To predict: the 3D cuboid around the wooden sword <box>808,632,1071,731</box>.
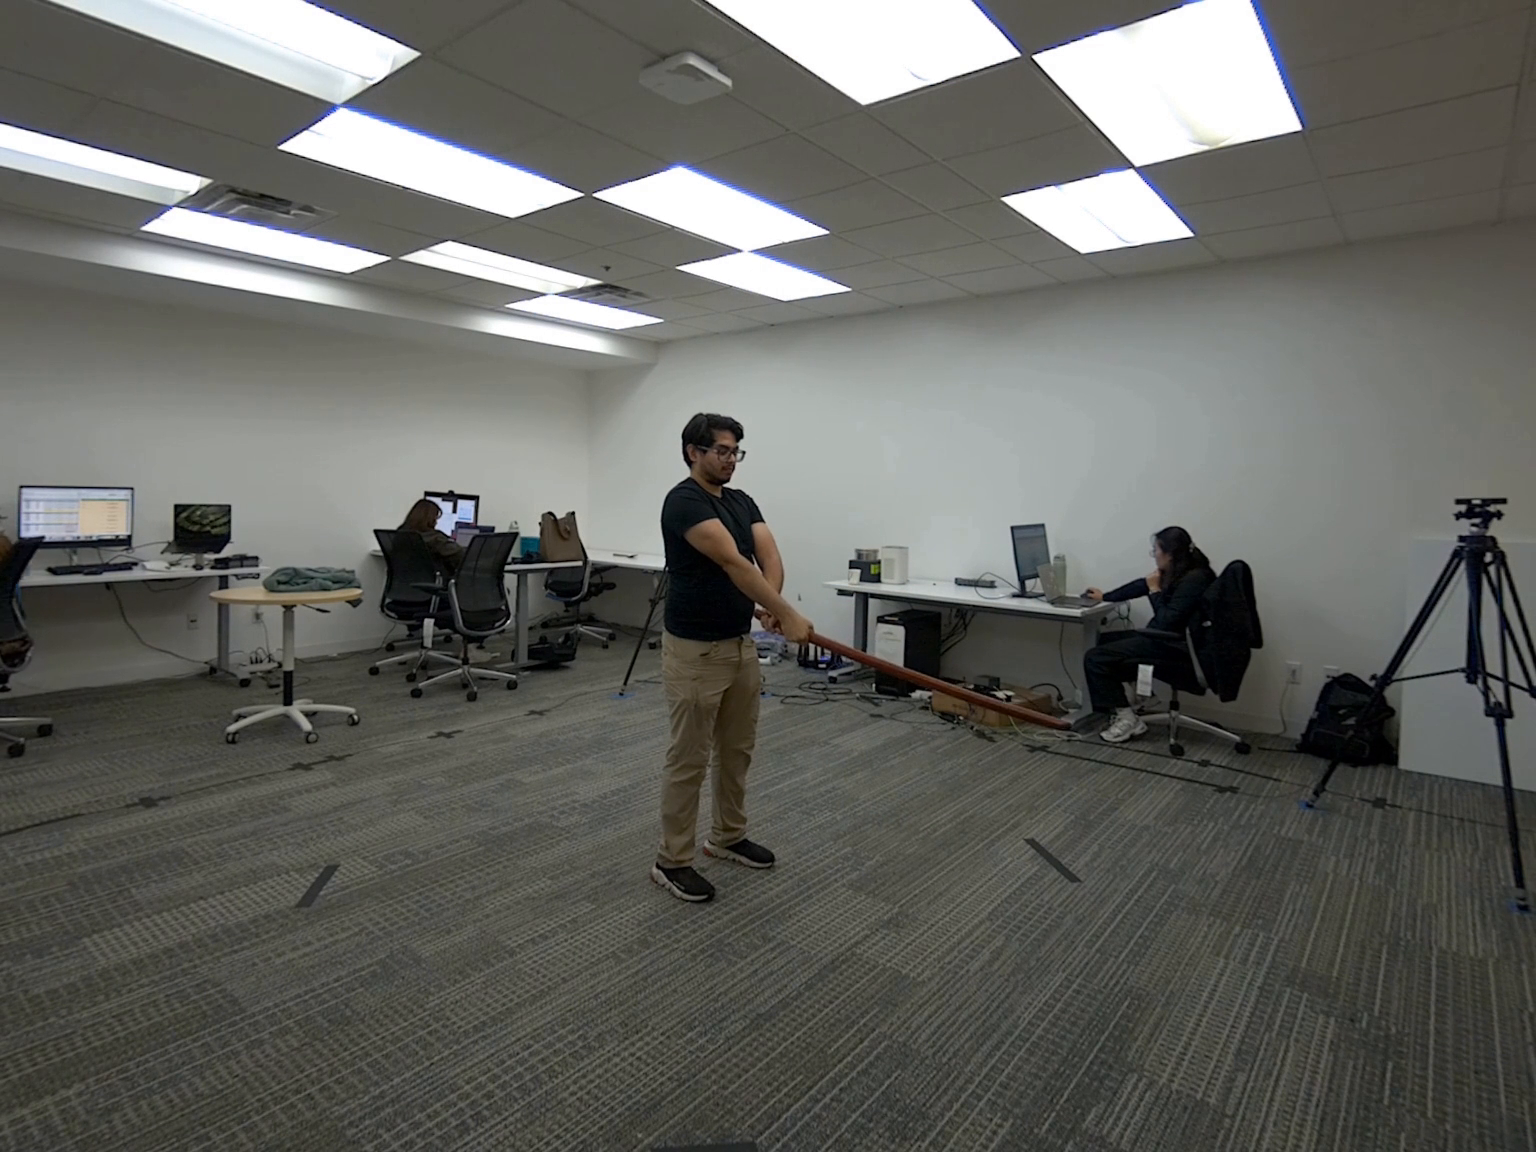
[{"bbox_3d":[0.426,0.279,2.469,1.064,0.051,0.023,18,1,38],"label":"wooden sword"}]
